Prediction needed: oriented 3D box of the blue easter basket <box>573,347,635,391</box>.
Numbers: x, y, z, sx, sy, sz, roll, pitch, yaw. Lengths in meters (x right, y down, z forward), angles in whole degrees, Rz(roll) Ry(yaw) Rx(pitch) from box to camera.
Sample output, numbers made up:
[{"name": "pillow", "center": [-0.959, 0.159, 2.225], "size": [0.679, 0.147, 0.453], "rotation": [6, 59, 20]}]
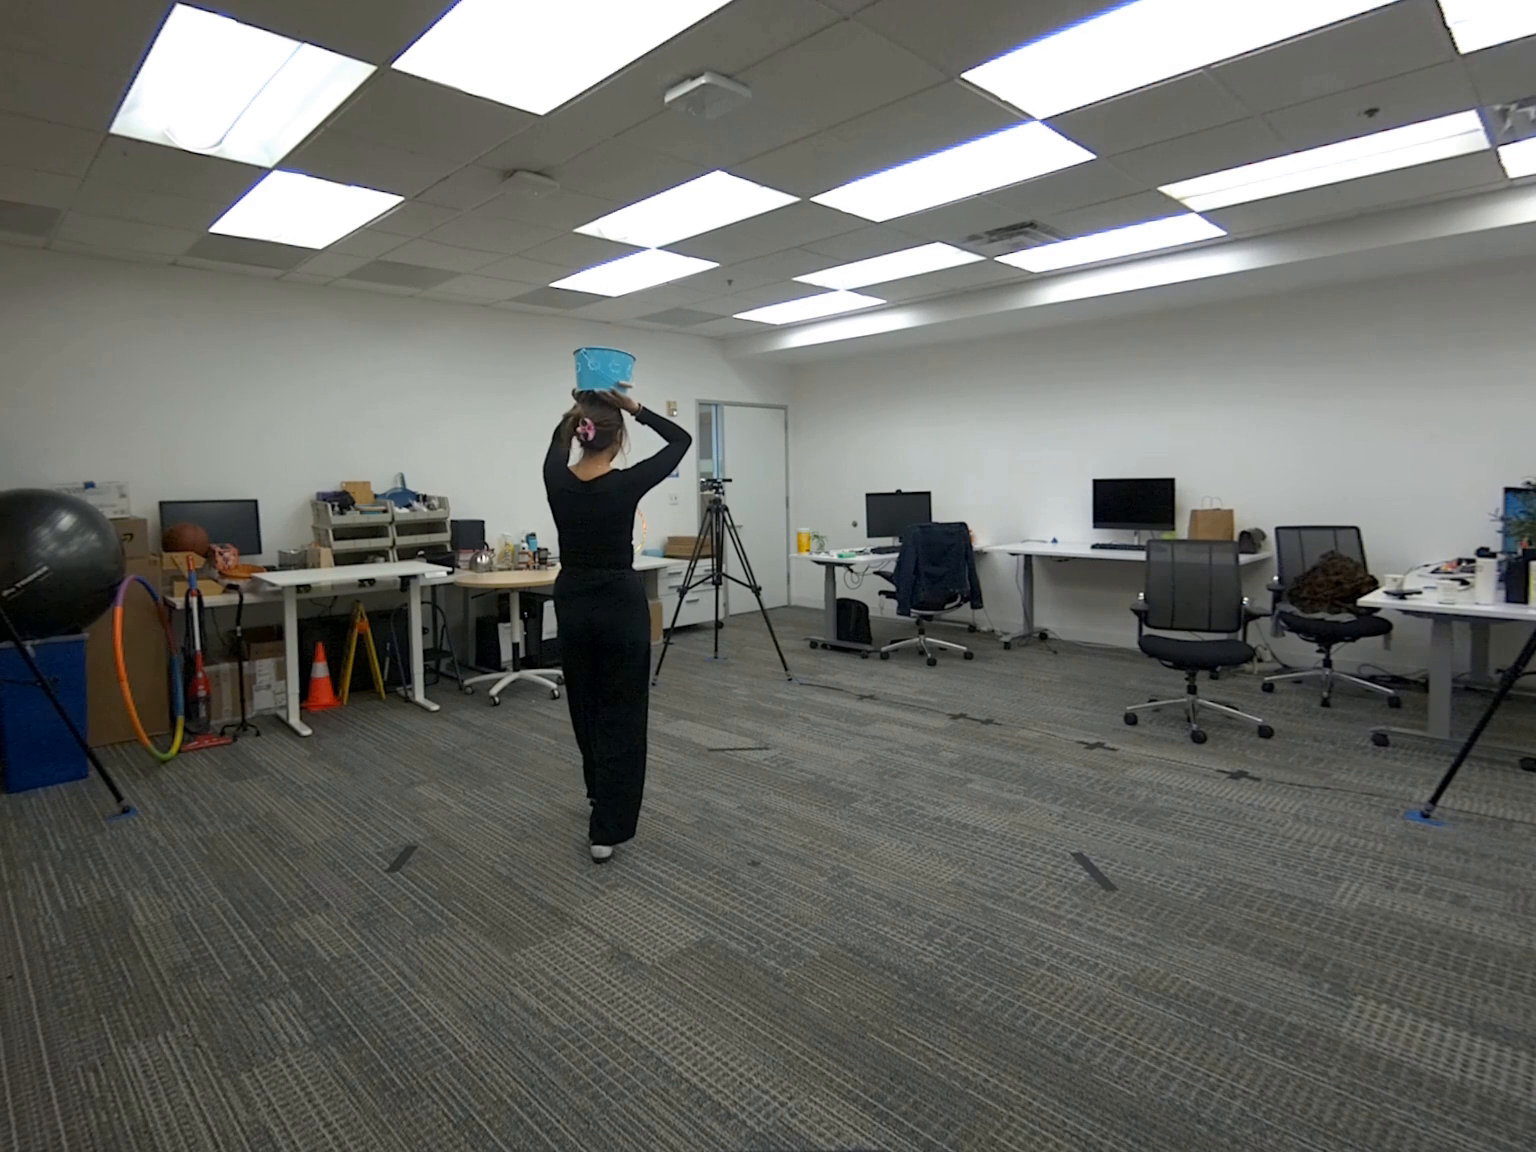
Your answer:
[{"name": "blue easter basket", "center": [-0.617, -0.744, 3.174], "size": [0.243, 0.156, 0.243], "rotation": [1, -2, -2]}]
